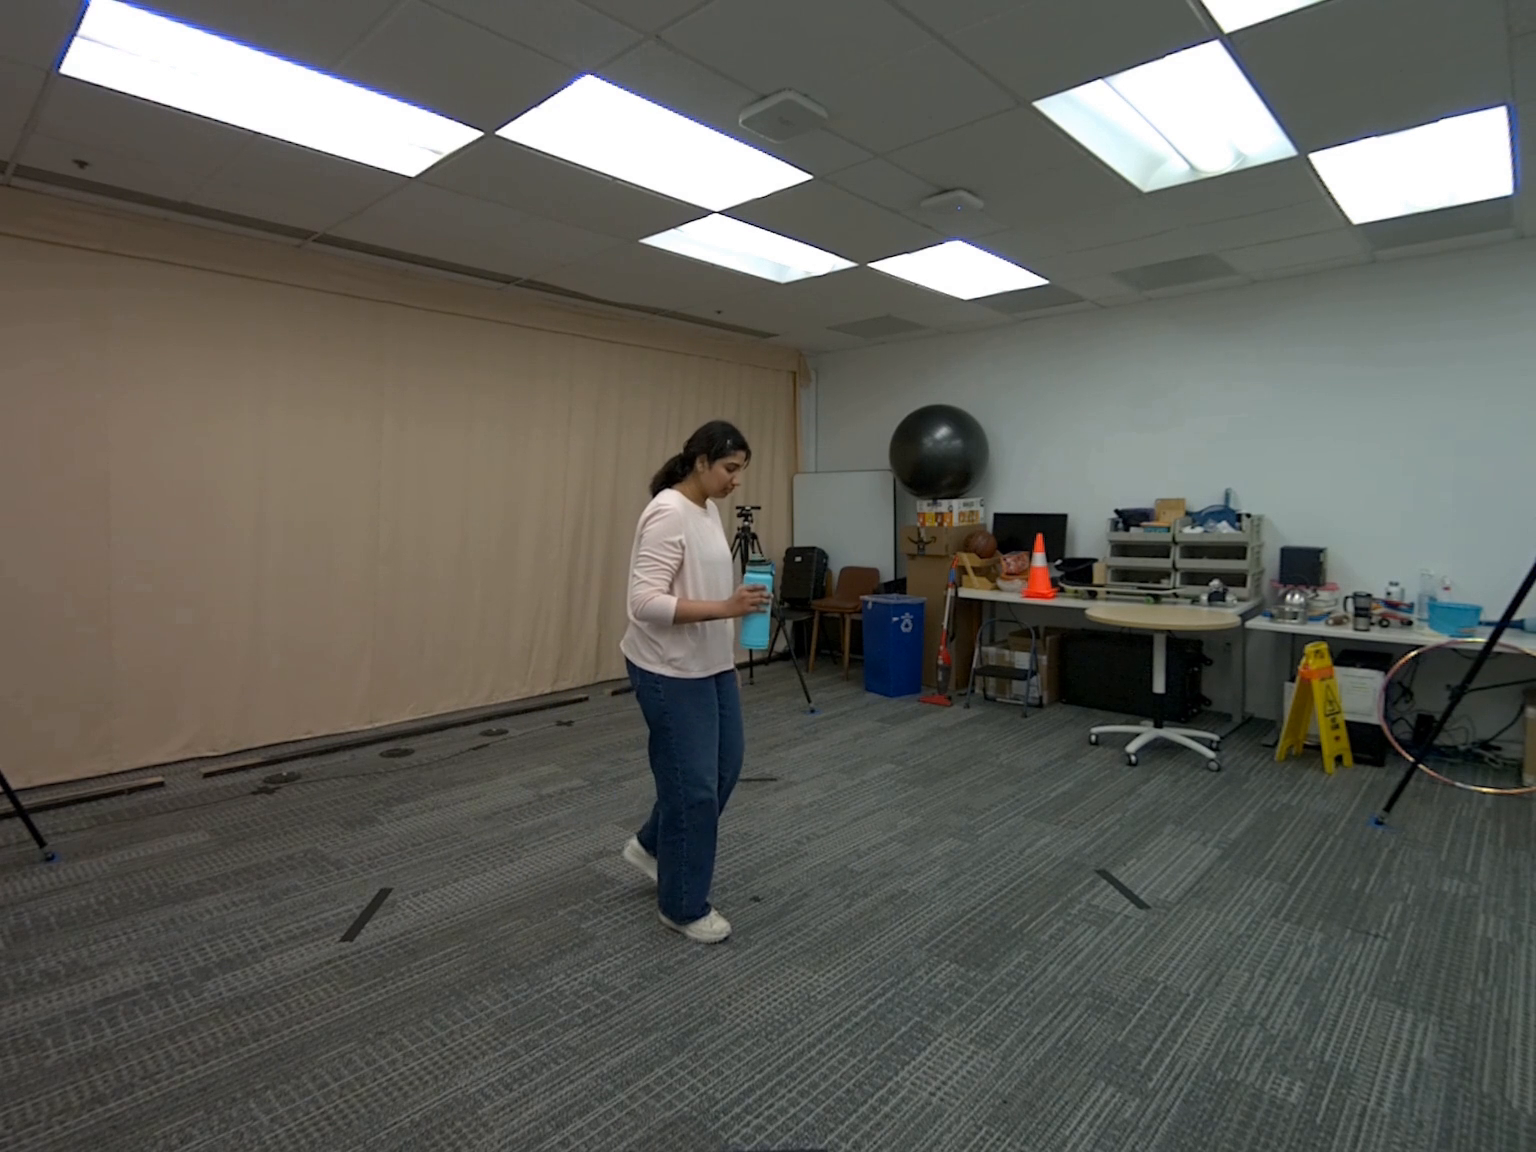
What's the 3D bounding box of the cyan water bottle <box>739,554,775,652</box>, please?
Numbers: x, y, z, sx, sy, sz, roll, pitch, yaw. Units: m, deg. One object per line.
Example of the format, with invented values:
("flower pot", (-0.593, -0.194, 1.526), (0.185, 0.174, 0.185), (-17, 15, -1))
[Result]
("cyan water bottle", (-0.029, 0.078, 2.561), (0.092, 0.283, 0.092), (3, 1, -2))
